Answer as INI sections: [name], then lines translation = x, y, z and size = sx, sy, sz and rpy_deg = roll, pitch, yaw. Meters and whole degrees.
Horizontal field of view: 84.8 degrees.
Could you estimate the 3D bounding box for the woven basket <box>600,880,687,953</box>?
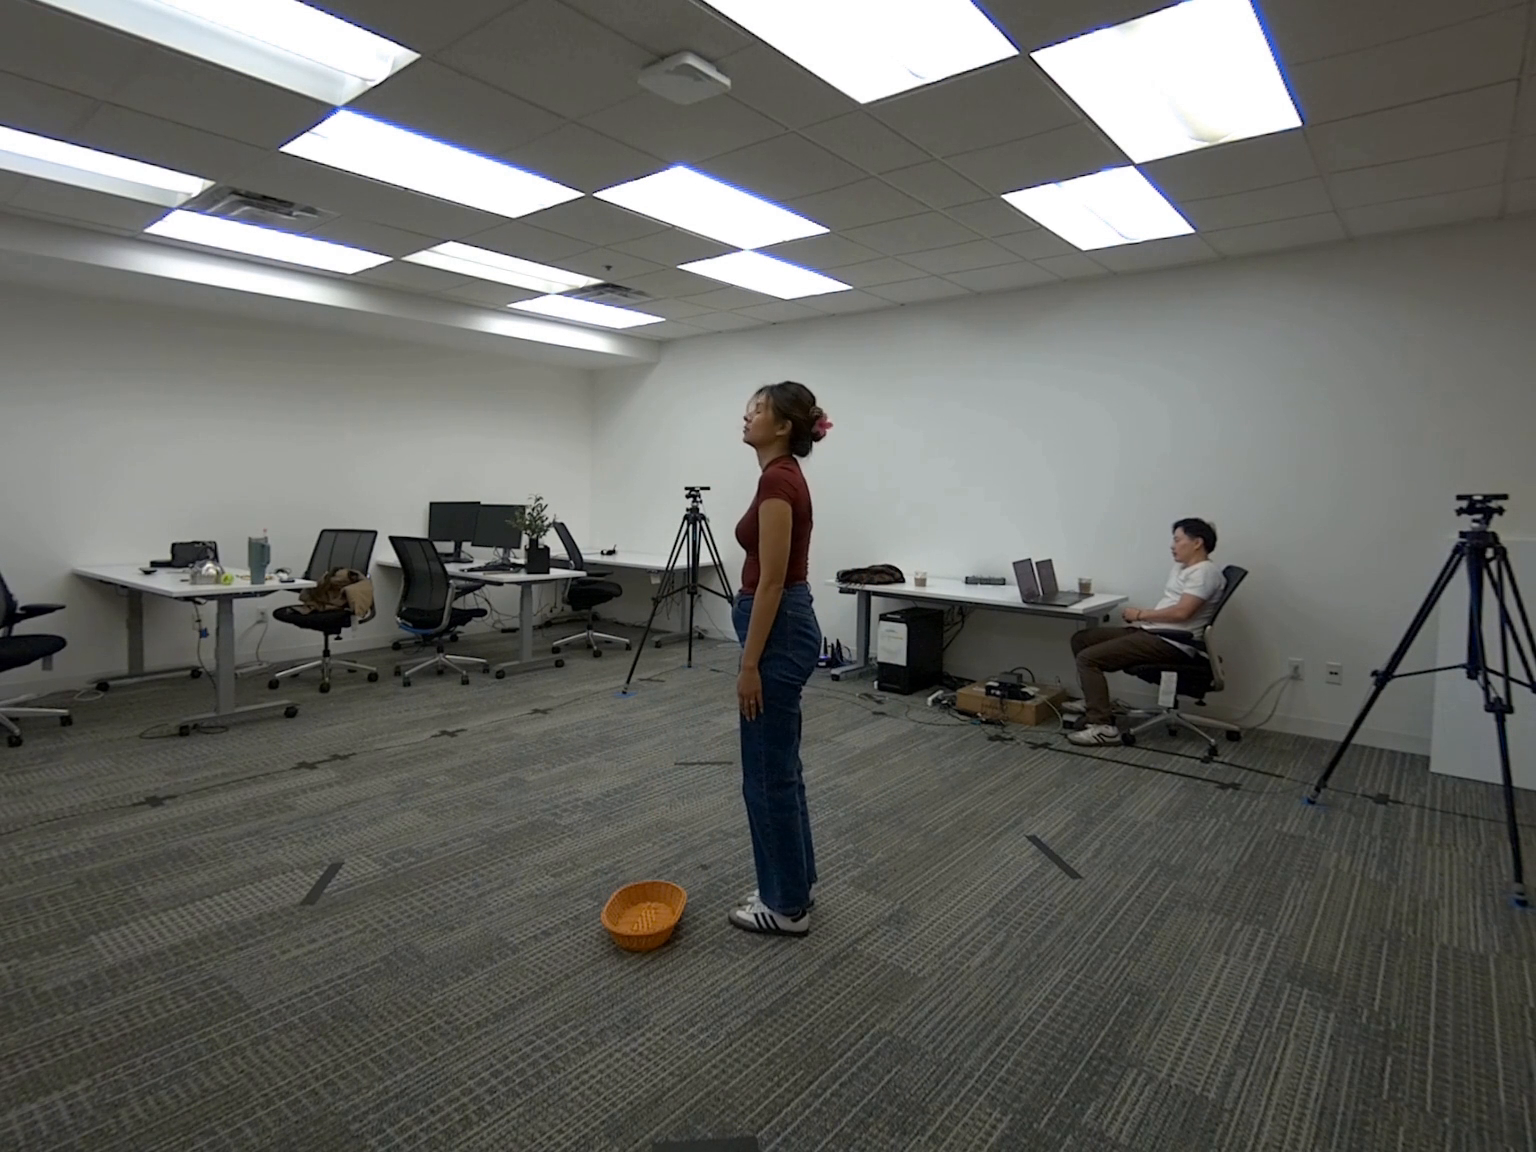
[woven basket]
translation = -0.404, 1.081, 2.685
size = 0.255, 0.073, 0.348
rpy_deg = -1, 5, 8
